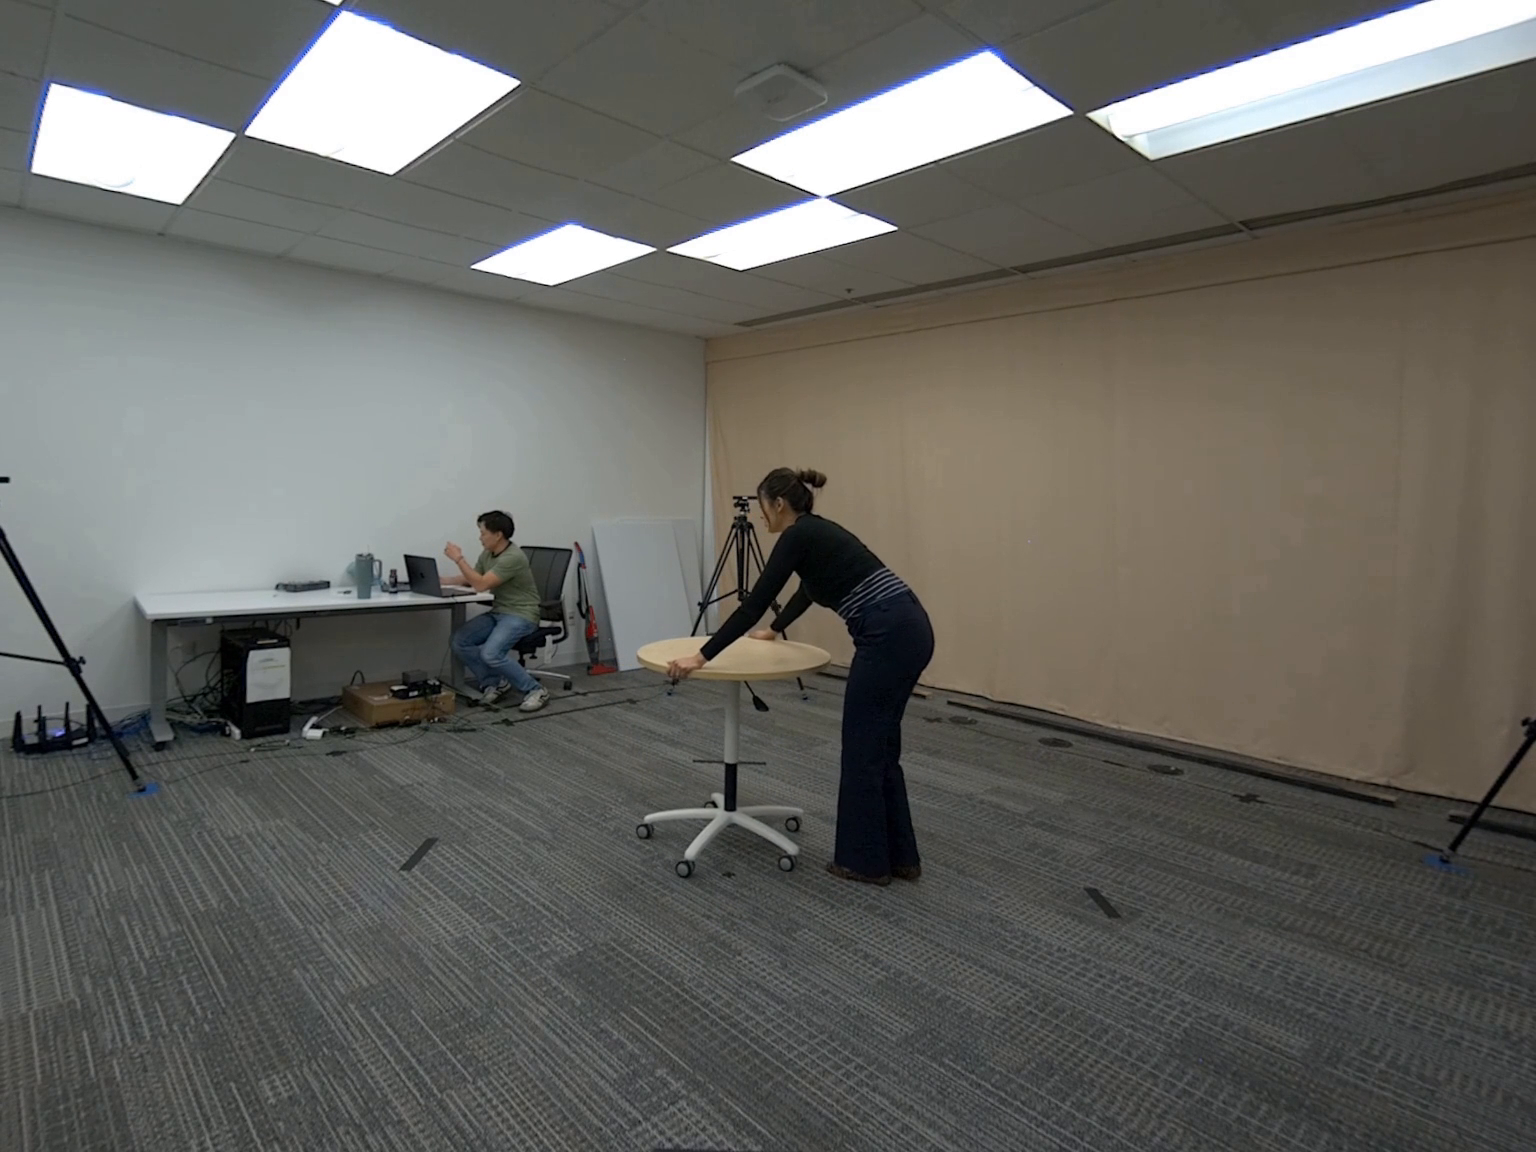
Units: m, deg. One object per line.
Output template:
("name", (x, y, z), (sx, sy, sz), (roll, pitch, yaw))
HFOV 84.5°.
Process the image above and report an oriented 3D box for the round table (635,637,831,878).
("round table", (-0.163, 0.695, 3.362), (0.763, 0.792, 0.766), (1, 4, -1))
